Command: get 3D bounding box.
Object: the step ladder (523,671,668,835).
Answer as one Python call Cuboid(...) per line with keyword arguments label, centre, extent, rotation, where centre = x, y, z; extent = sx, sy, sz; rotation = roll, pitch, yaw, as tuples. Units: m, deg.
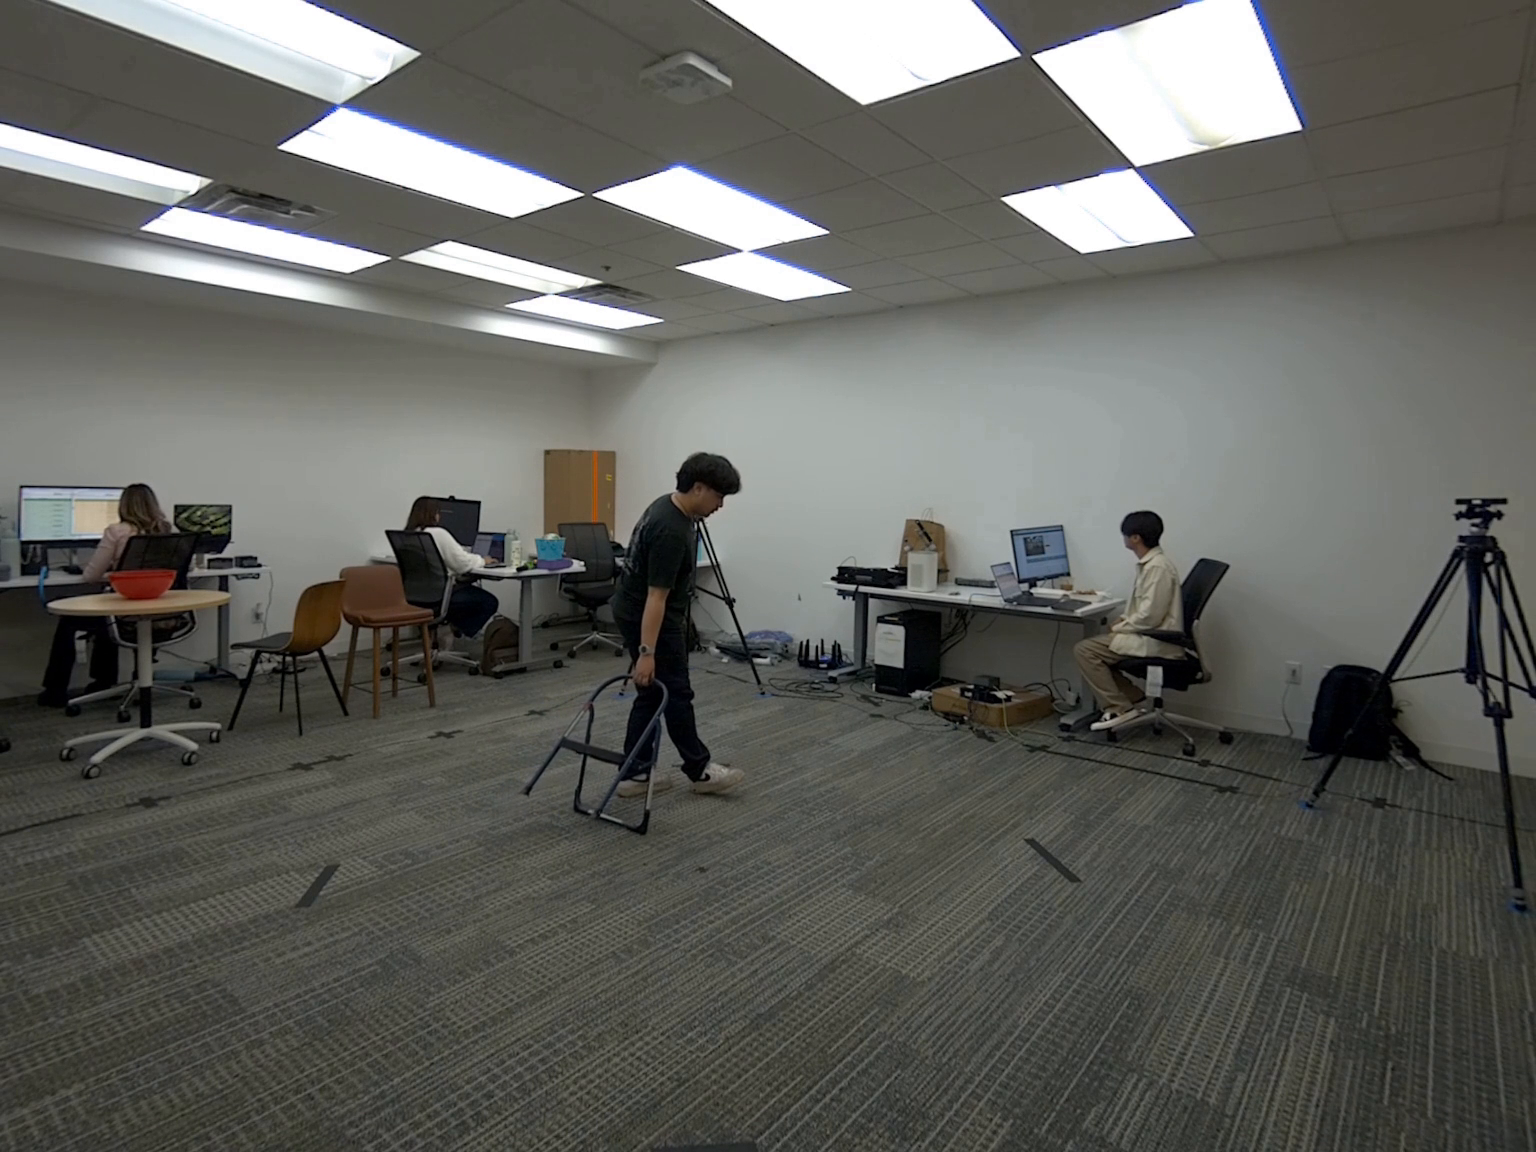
Cuboid(label="step ladder", centre=(-0.674, 0.684, 3.516), extent=(0.445, 0.612, 0.334), rotation=(4, -23, 35))
